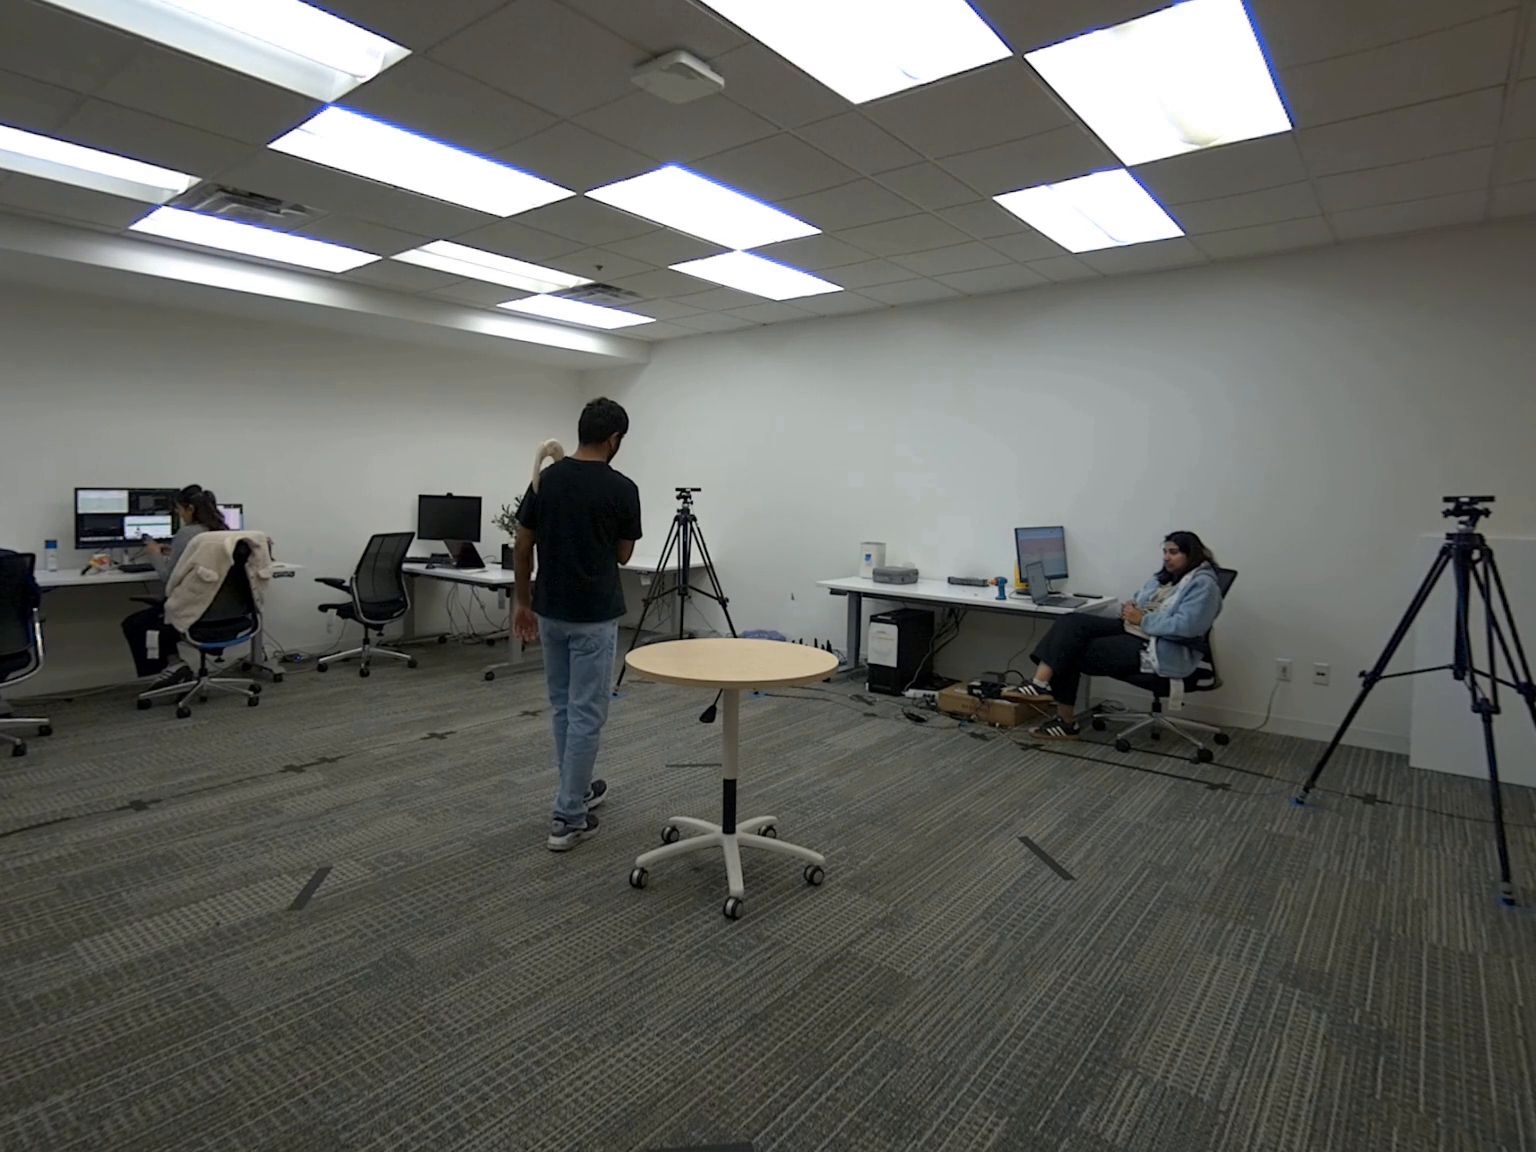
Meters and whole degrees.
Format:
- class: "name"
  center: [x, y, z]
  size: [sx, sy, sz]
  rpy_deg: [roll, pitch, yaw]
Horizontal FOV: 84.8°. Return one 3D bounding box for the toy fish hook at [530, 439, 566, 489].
- class: "toy fish hook"
  center: [-0.902, -0.300, 3.430]
  size: [0.049, 0.498, 0.222]
  rpy_deg: [10, 20, 23]
